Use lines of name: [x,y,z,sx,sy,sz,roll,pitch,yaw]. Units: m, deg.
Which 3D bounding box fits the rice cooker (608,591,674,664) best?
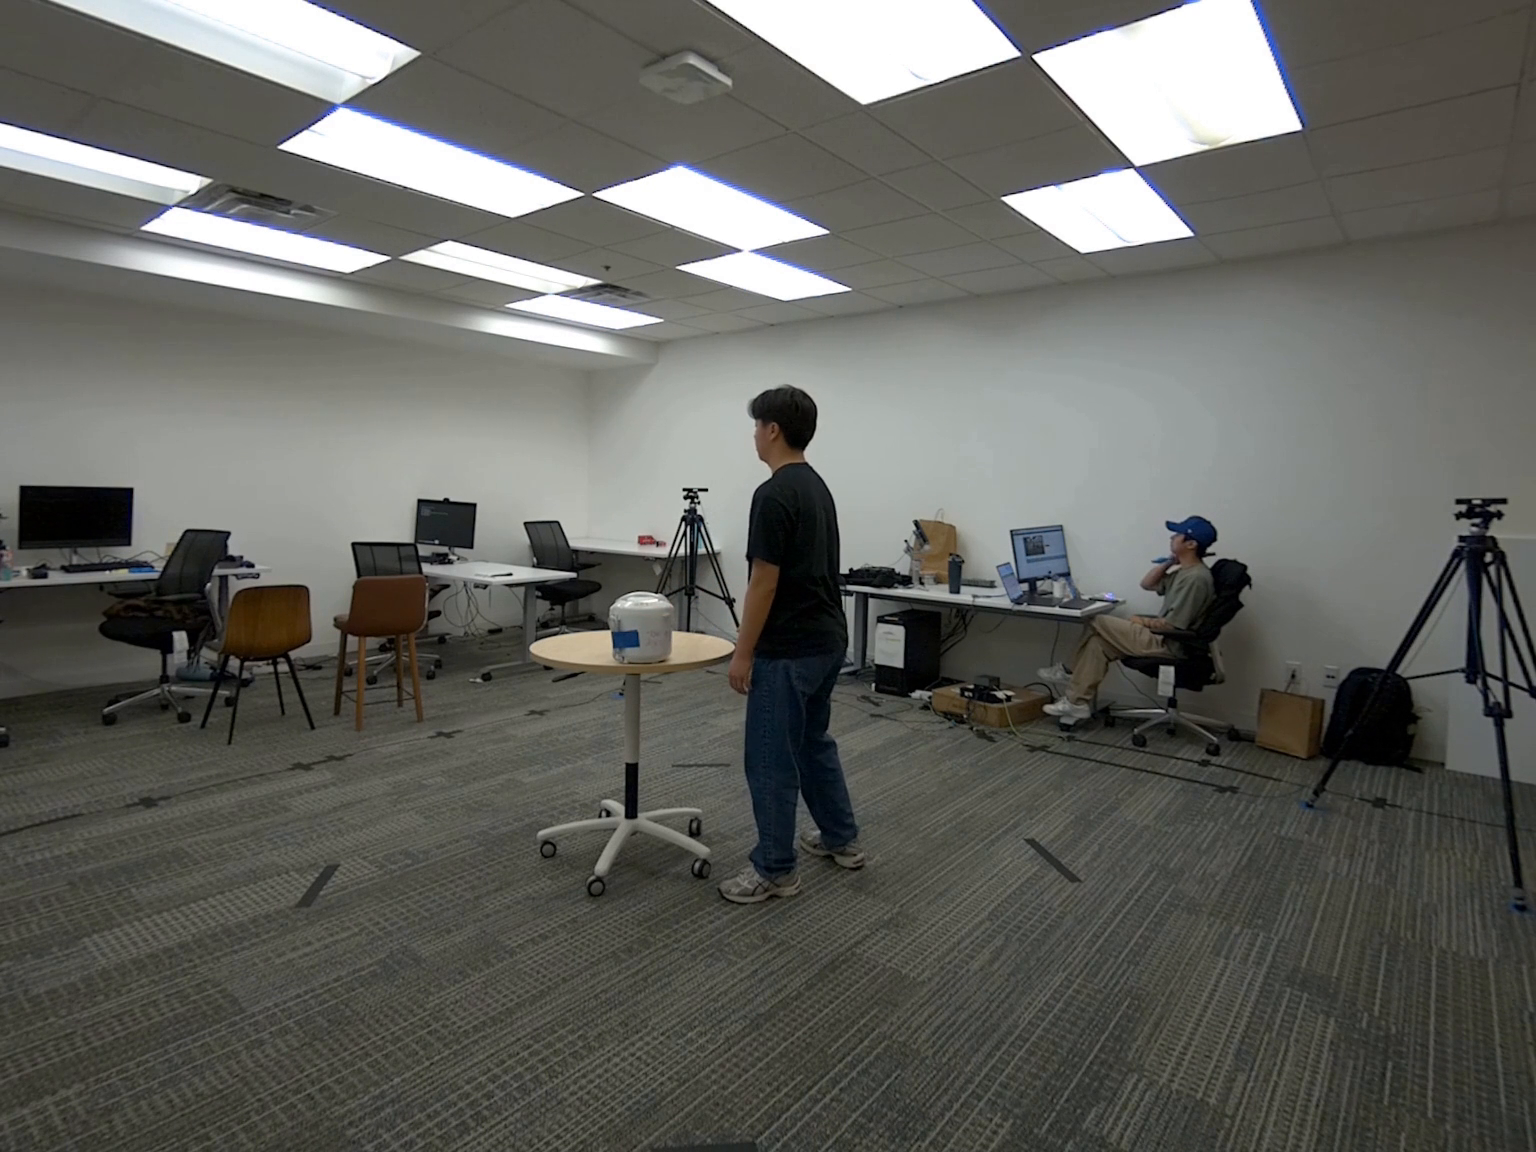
rice cooker: [-0.446,0.167,2.931,0.220,0.232,0.219,0,5,-3]
